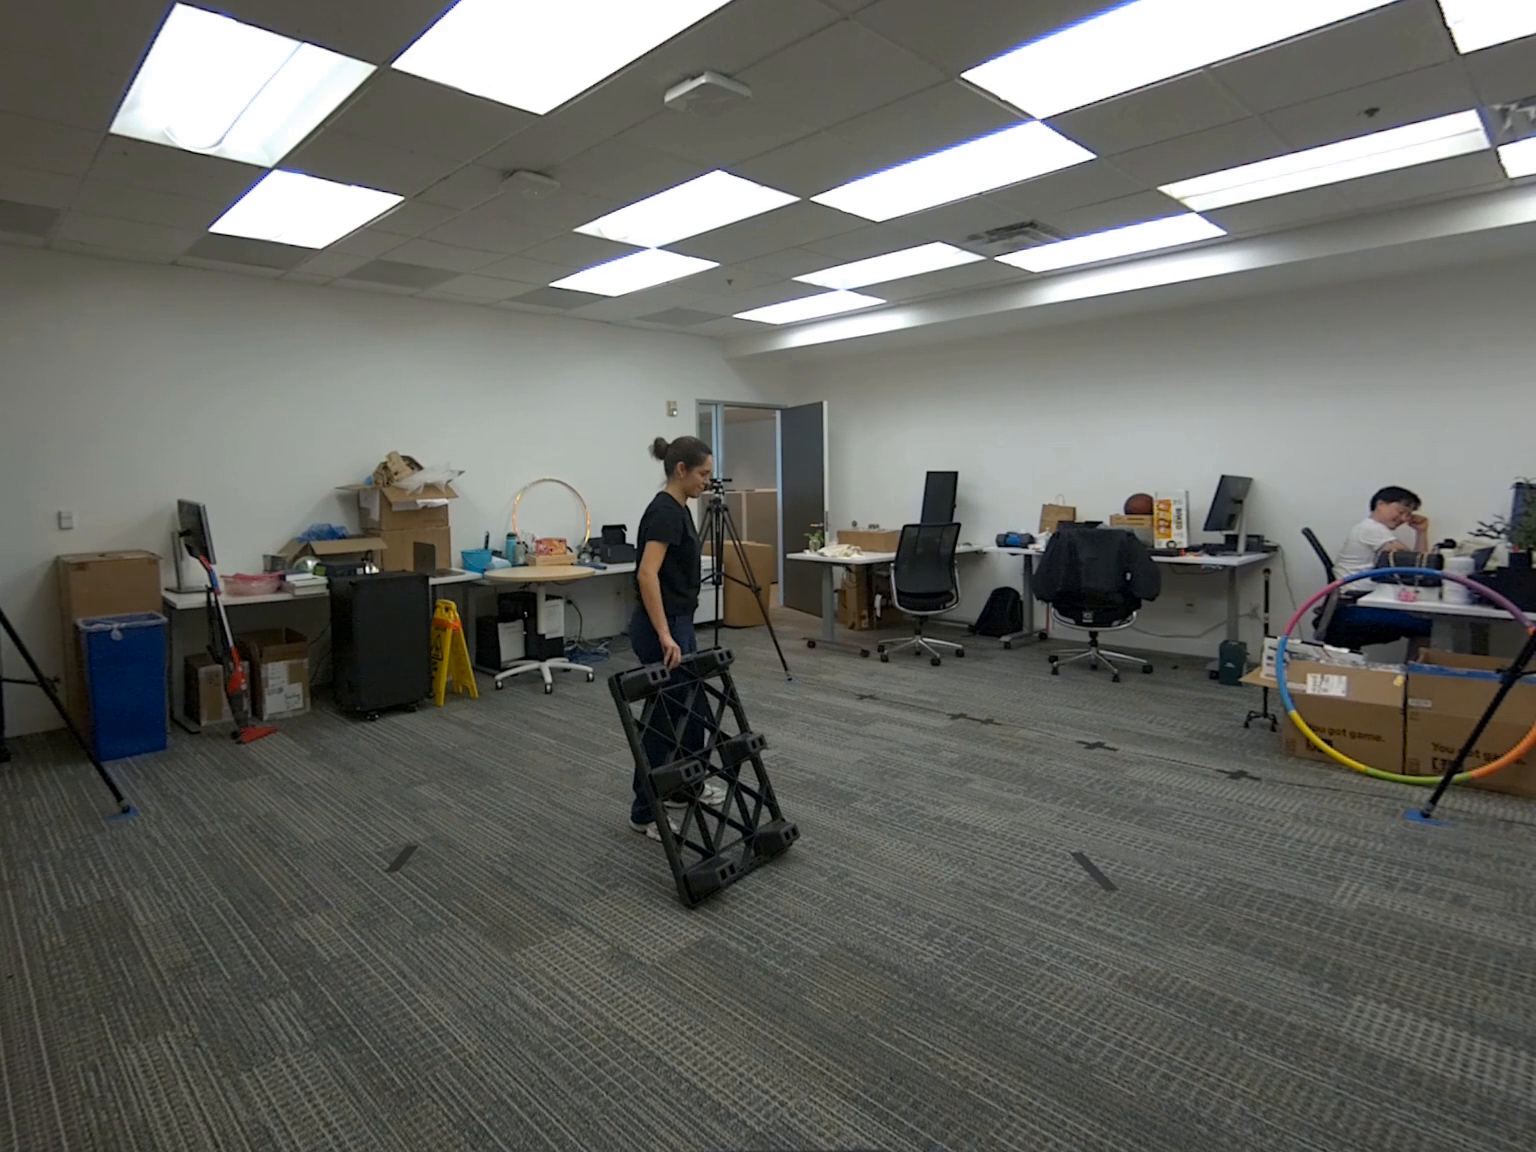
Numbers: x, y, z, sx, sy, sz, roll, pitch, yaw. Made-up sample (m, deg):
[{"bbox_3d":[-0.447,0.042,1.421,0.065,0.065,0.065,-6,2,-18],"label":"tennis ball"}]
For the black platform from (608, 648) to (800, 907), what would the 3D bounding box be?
[{"bbox_3d":[-0.192,0.664,3.074,0.145,0.817,0.590,-30,-14,36],"label":"black platform"}]
